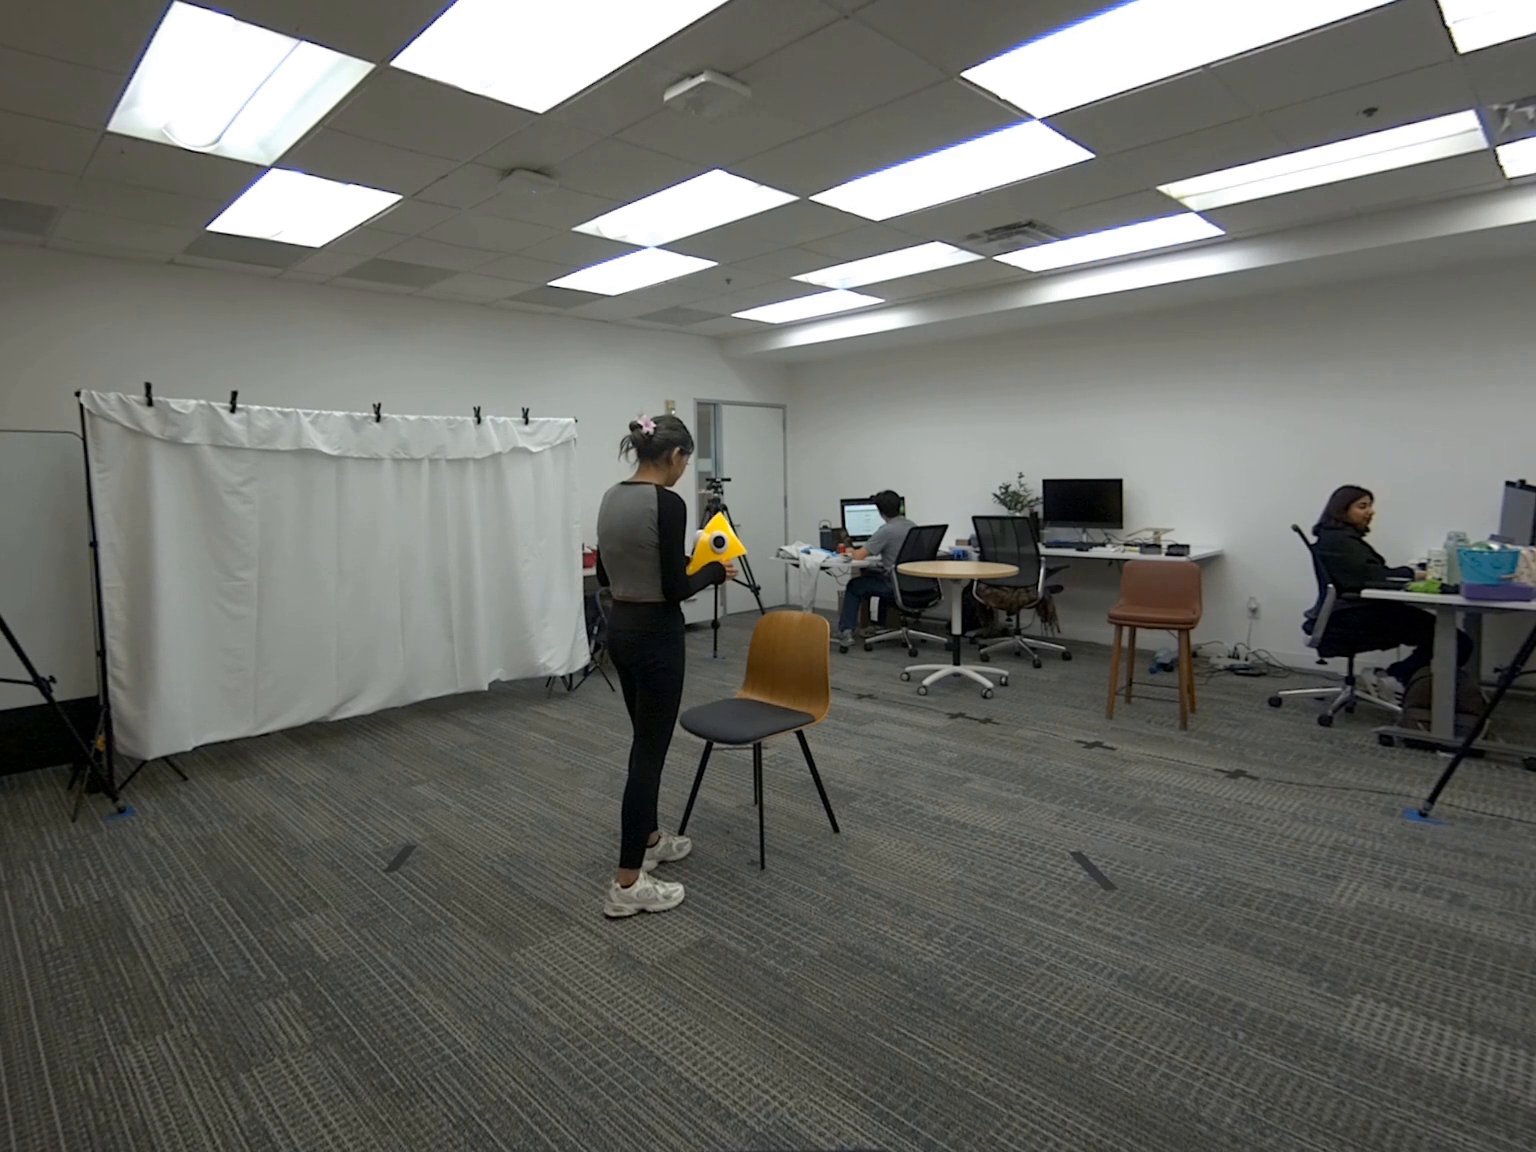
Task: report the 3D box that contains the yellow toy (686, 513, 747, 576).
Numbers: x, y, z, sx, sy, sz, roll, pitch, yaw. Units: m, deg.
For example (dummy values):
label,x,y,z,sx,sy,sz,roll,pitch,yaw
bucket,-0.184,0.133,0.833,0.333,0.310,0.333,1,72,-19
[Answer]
label,x,y,z,sx,sy,sz,roll,pitch,yaw
yellow toy,-0.210,-0.113,3.110,0.211,0.229,0.188,5,10,45
